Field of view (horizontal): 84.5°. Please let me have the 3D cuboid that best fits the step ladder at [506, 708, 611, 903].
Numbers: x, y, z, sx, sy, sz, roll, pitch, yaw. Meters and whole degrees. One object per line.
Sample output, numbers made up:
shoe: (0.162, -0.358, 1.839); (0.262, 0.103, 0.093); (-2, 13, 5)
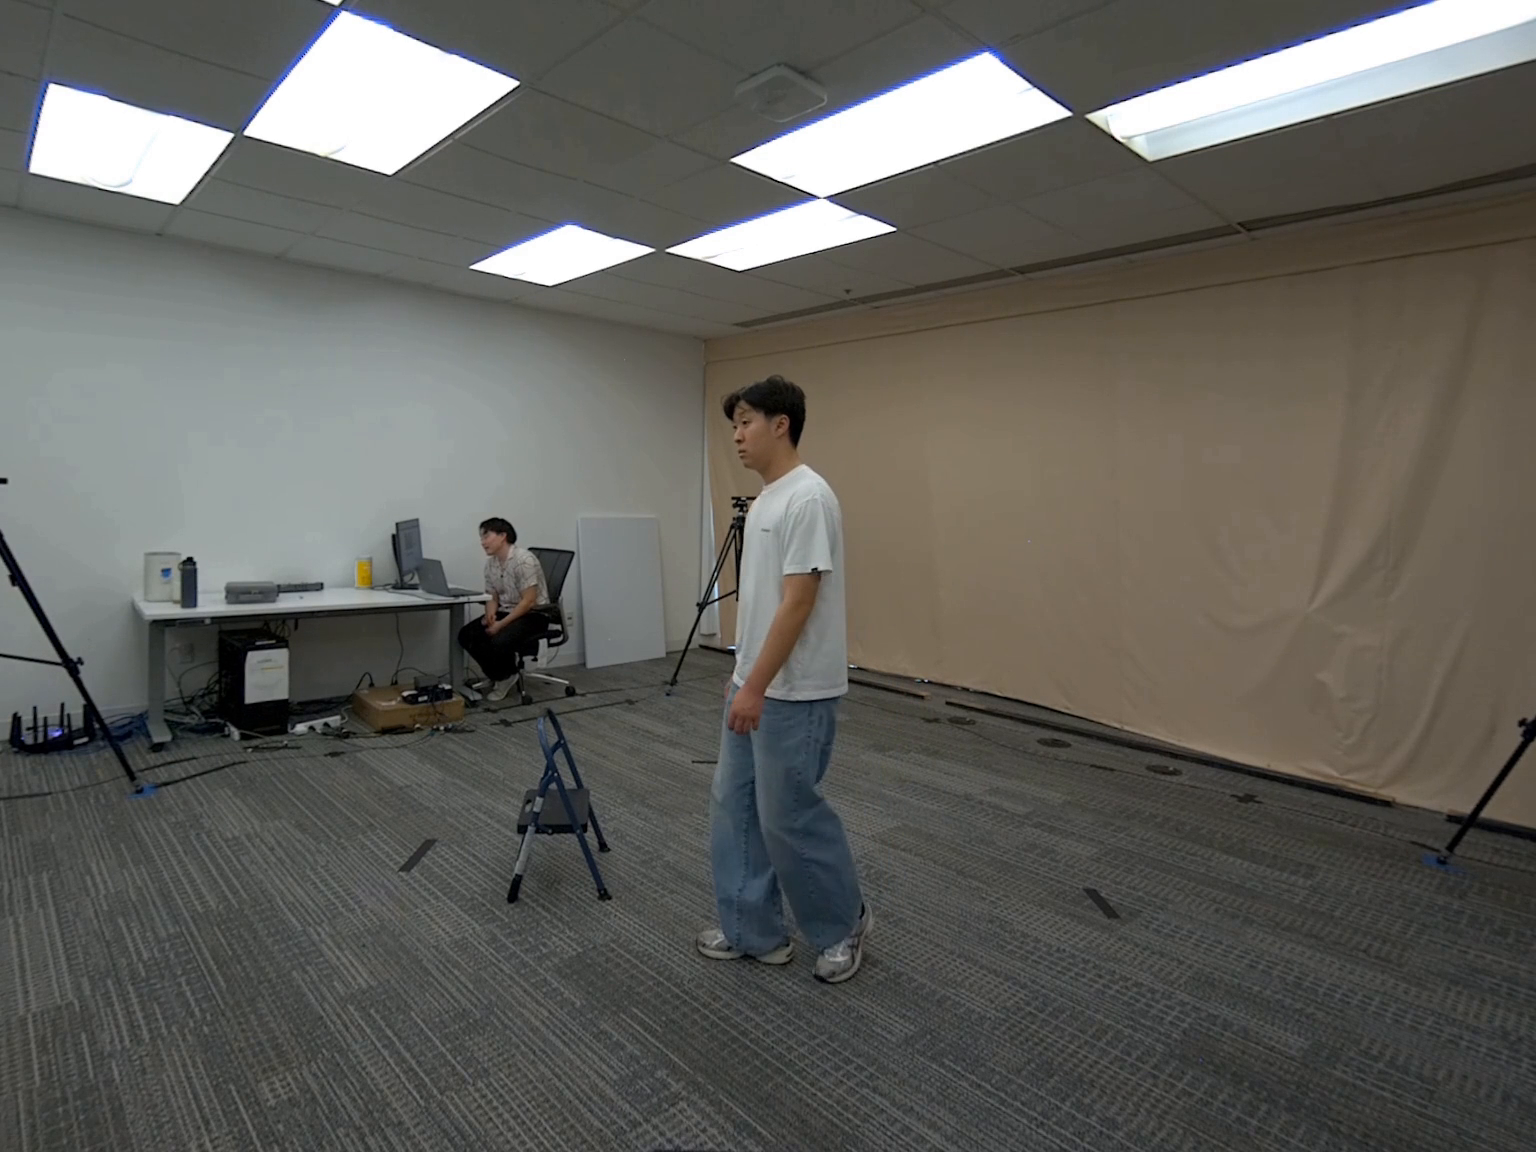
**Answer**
step ladder: (-0.752, 0.796, 3.066); (0.346, 0.605, 0.435); (1, 3, -11)
